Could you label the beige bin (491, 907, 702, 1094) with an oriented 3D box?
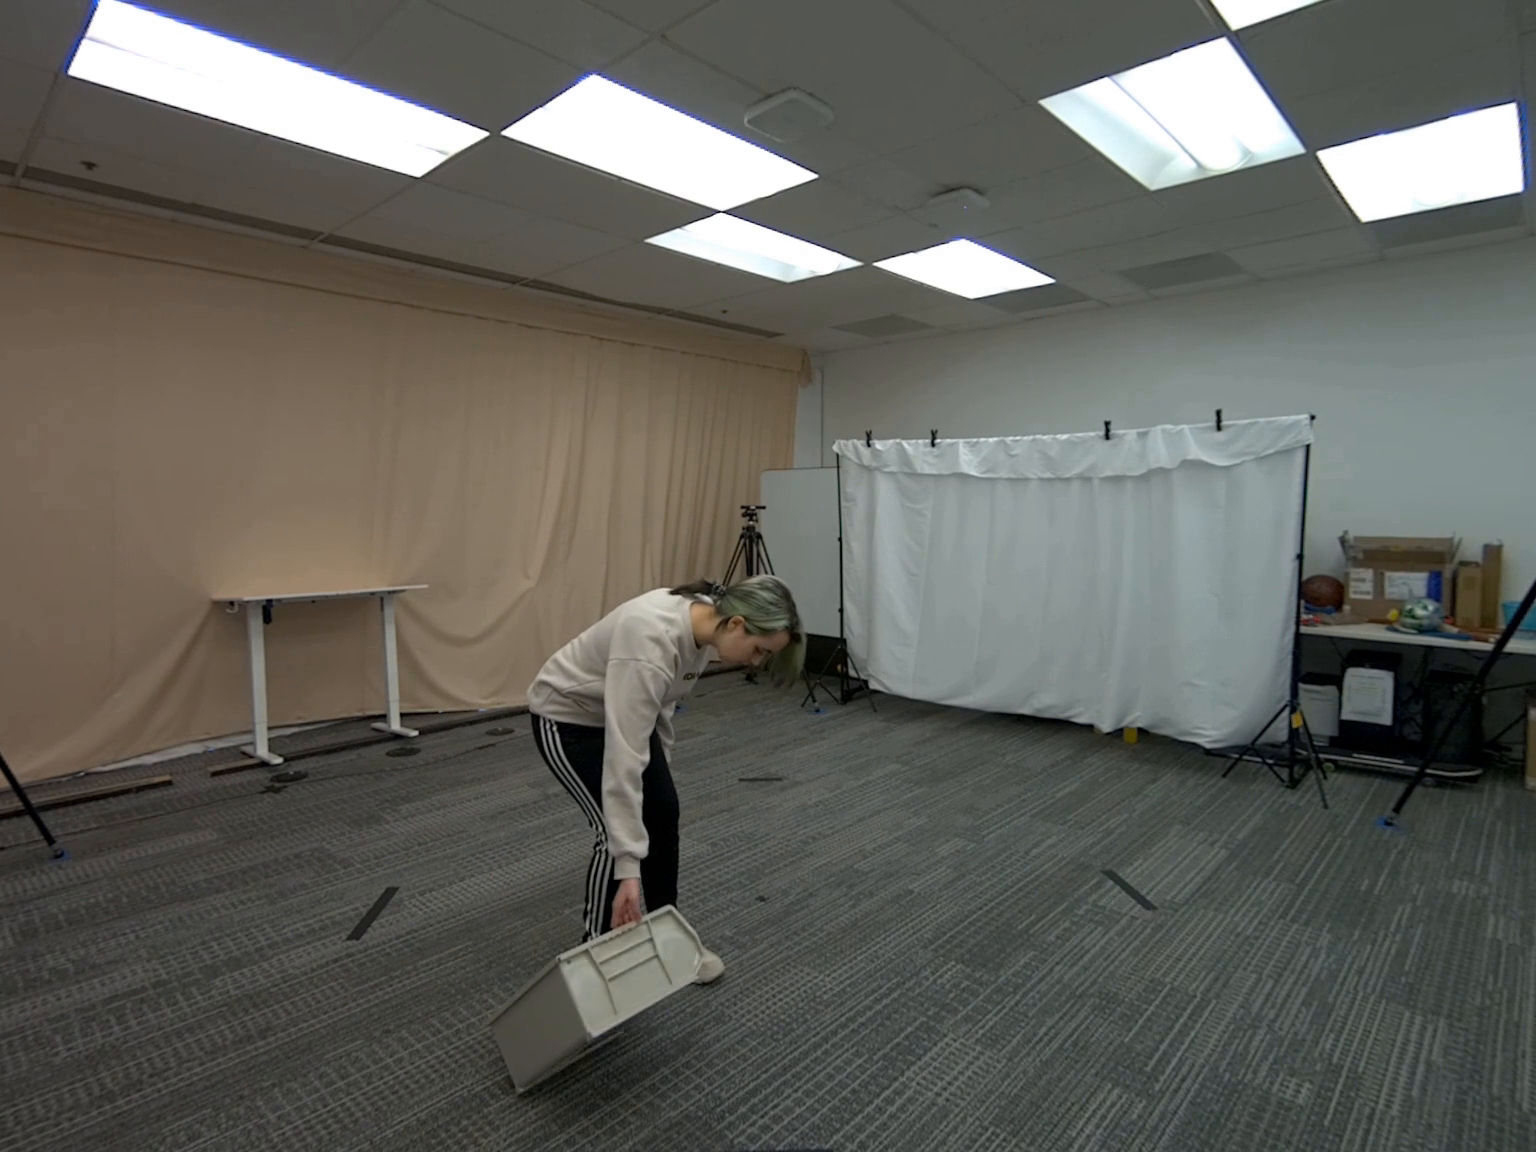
[{"bbox_3d":[-0.411,1.019,2.043,0.366,0.193,0.425,-6,-34,-50],"label":"beige bin"}]
